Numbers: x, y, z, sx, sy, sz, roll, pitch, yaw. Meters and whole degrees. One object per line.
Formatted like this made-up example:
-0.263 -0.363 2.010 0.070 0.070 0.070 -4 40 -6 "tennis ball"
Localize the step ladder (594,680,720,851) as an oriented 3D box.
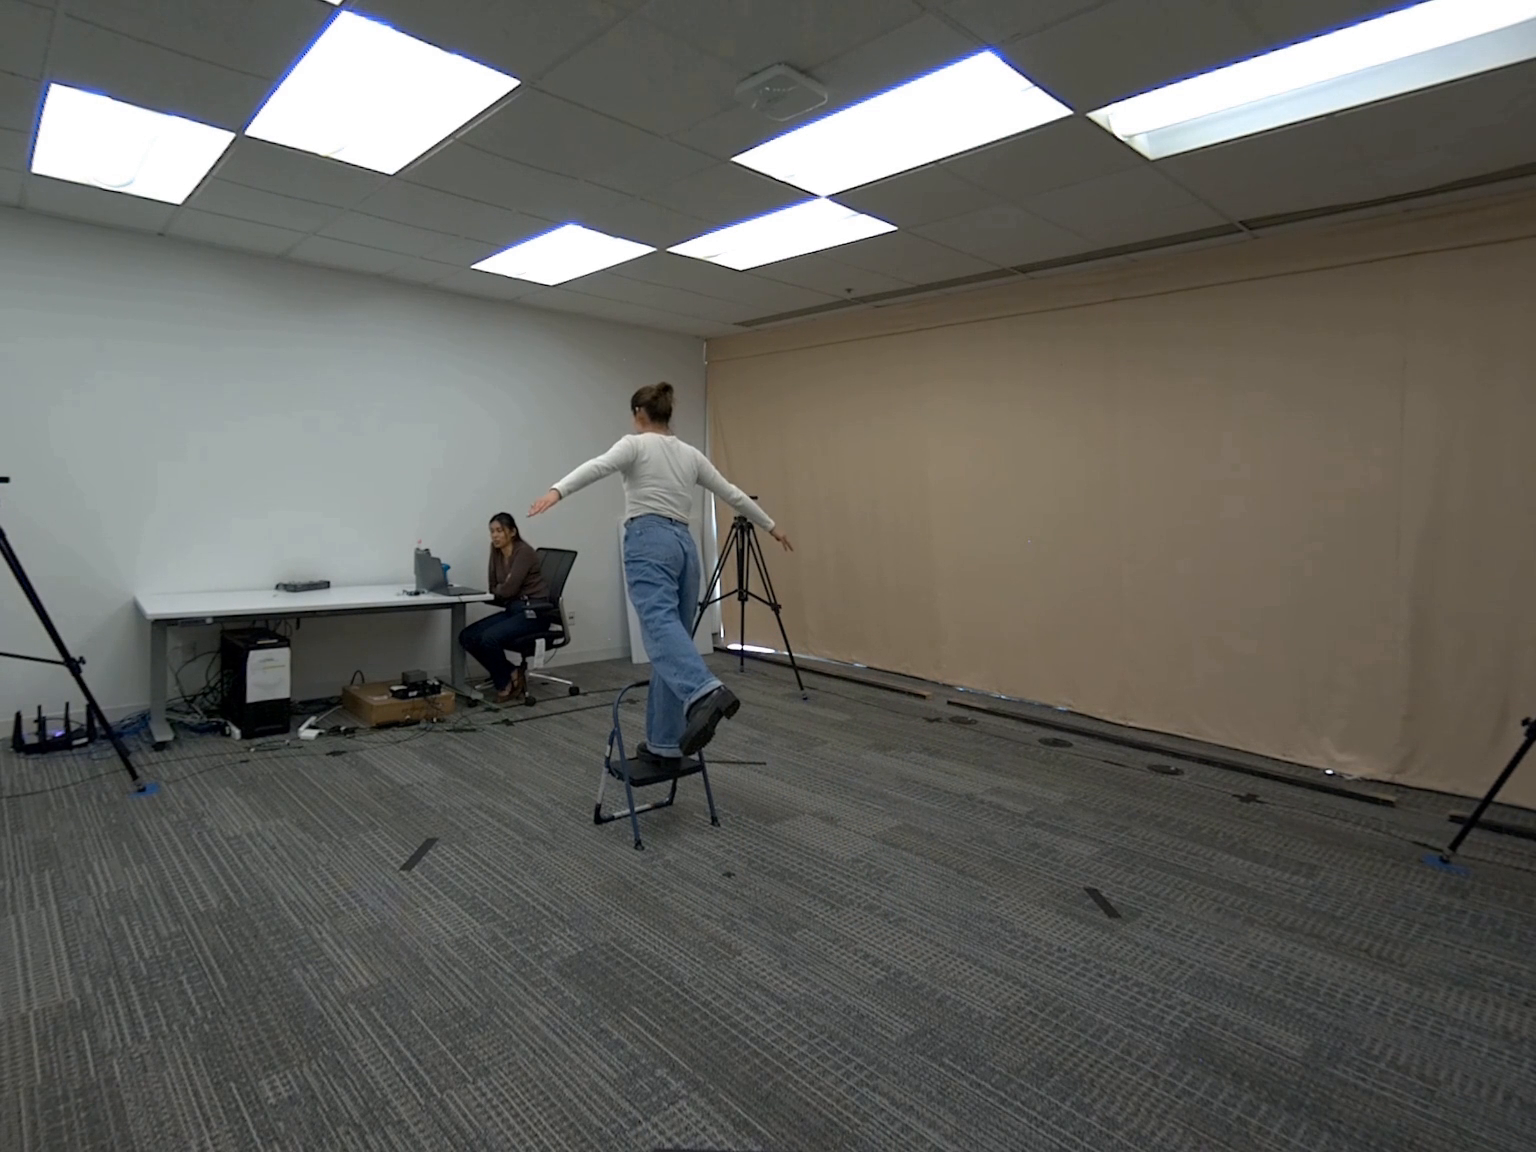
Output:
-0.474 0.754 3.553 0.420 0.605 0.358 -1 4 -44 "step ladder"
